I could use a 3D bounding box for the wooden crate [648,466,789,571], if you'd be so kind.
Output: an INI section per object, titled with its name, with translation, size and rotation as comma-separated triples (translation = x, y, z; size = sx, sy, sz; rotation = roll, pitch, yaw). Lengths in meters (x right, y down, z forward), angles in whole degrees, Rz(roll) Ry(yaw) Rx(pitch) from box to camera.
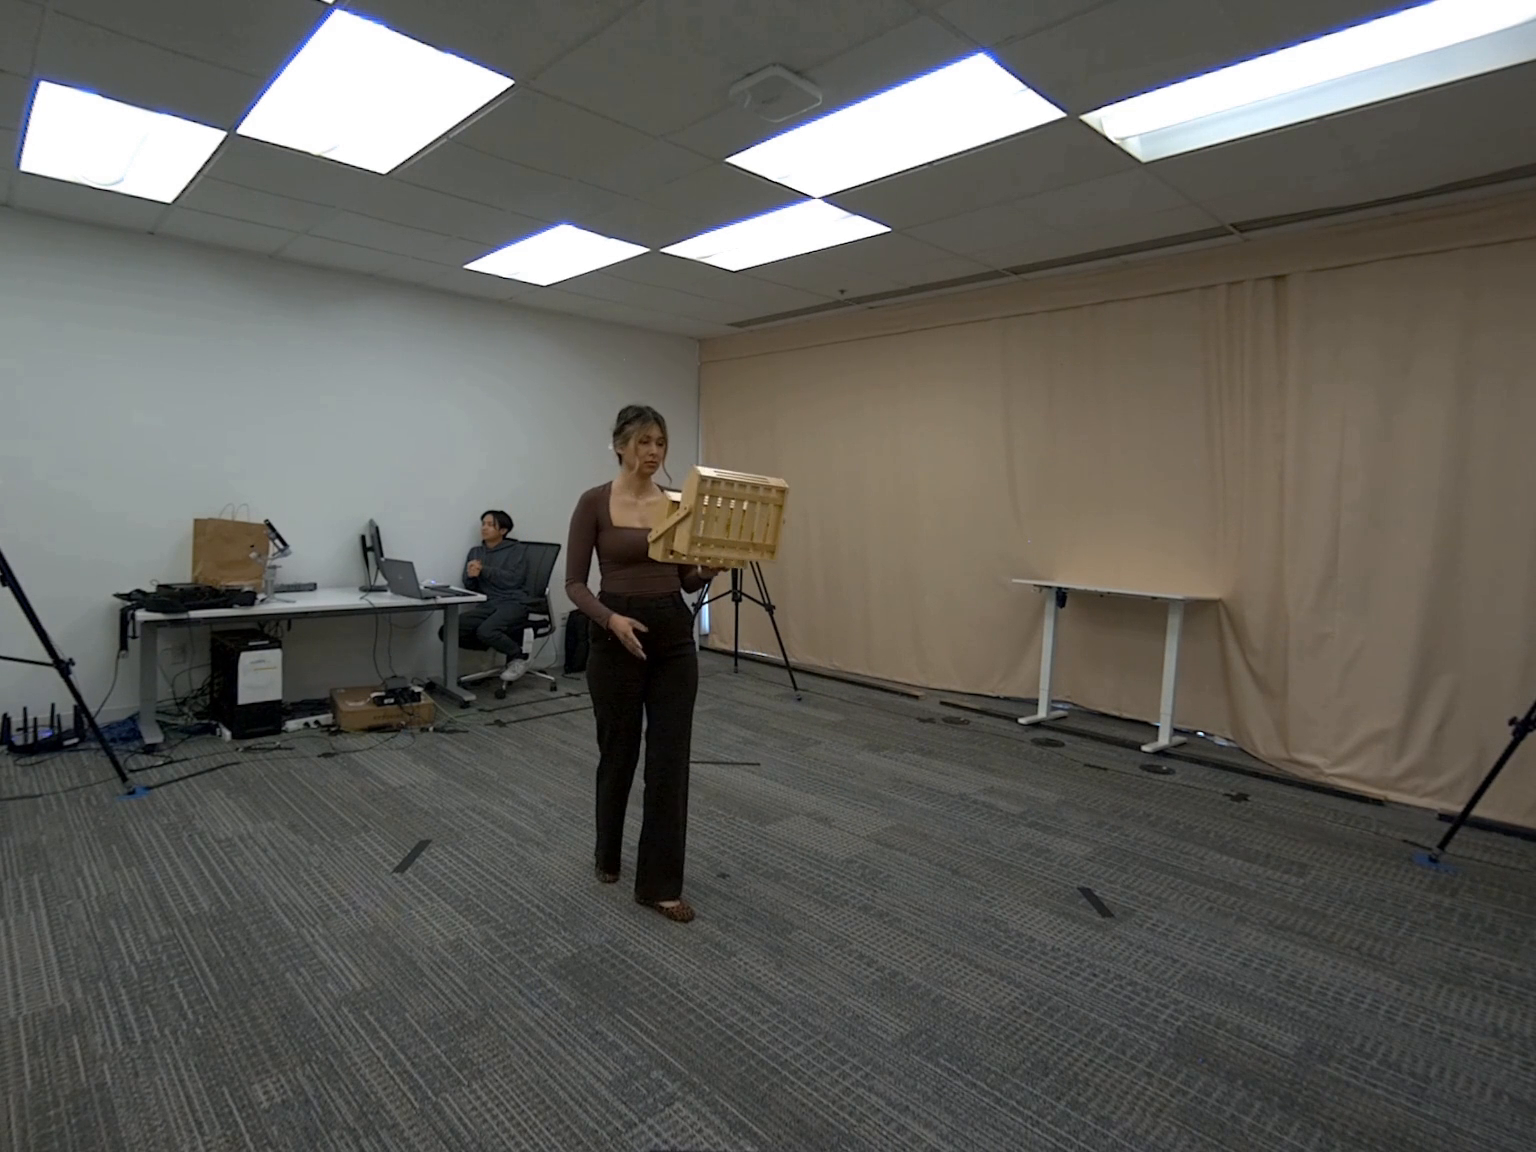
[wooden crate]
translation = -0.161, -0.173, 2.539
size = 0.317, 0.301, 0.280
rotation = 6, 7, -30
